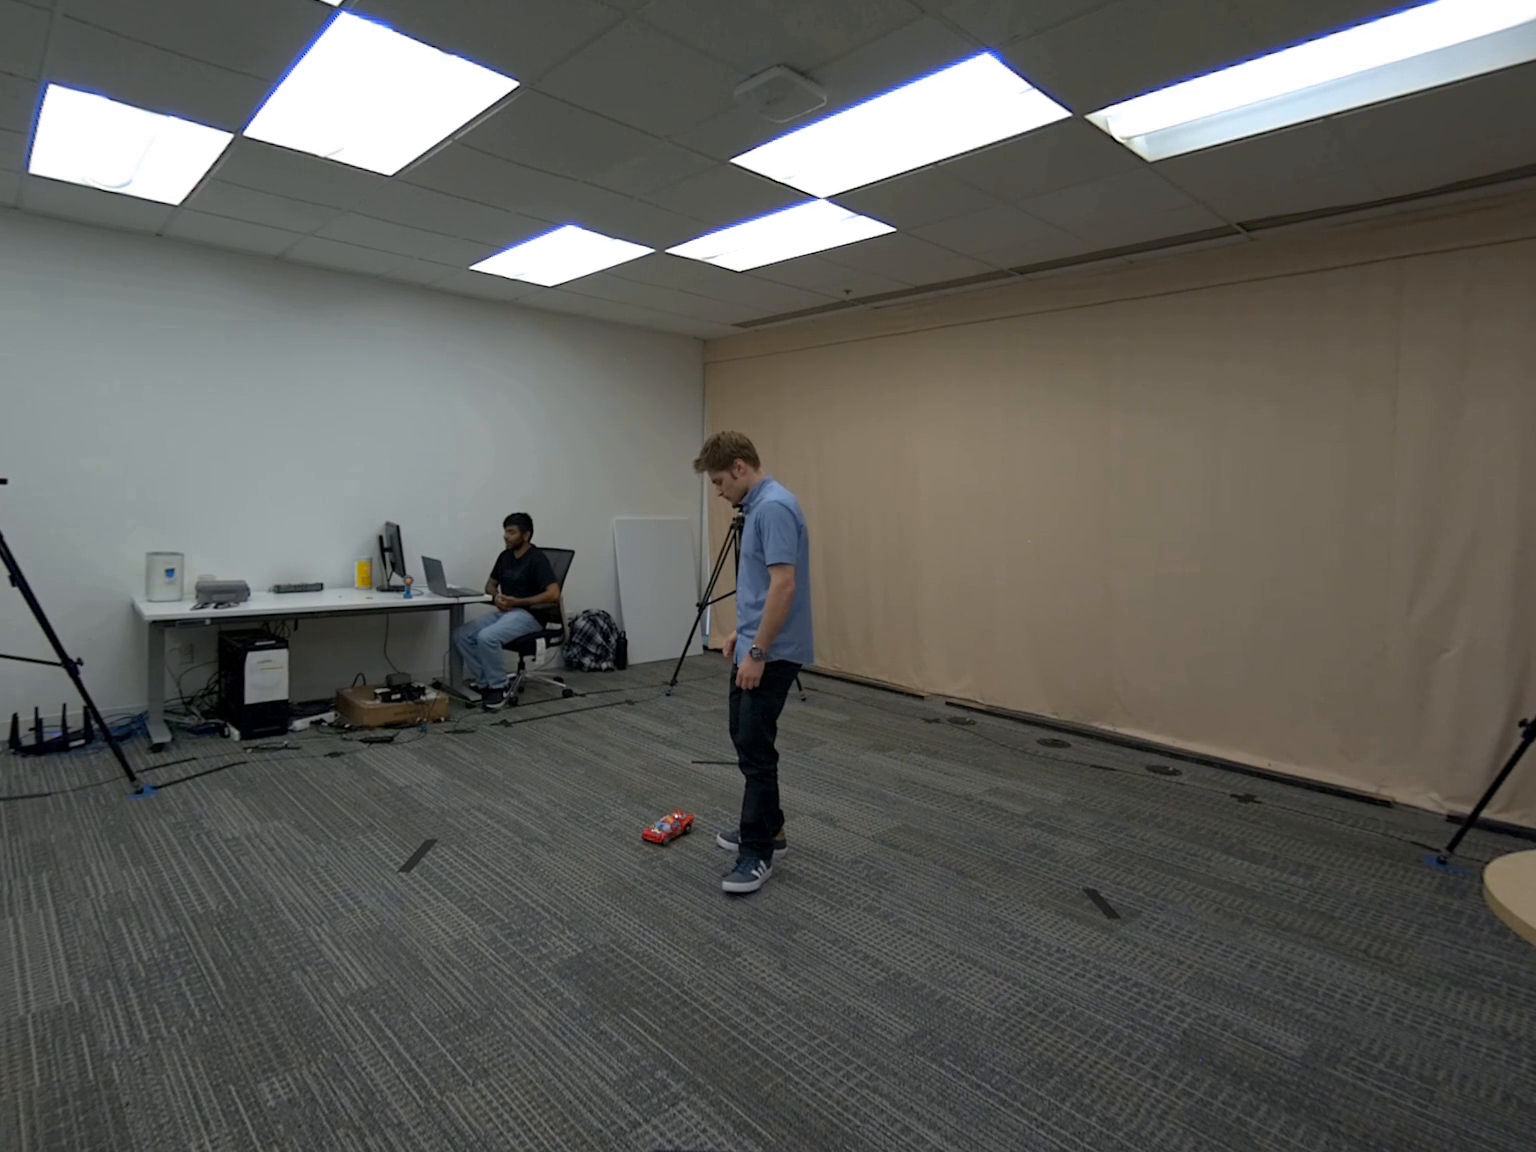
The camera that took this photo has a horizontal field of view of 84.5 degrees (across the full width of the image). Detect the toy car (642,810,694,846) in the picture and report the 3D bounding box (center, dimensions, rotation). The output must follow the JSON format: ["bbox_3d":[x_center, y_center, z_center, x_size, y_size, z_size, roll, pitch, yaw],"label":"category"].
[{"bbox_3d":[-0.413,1.038,3.466,0.133,0.082,0.251,3,16,33],"label":"toy car"}]
